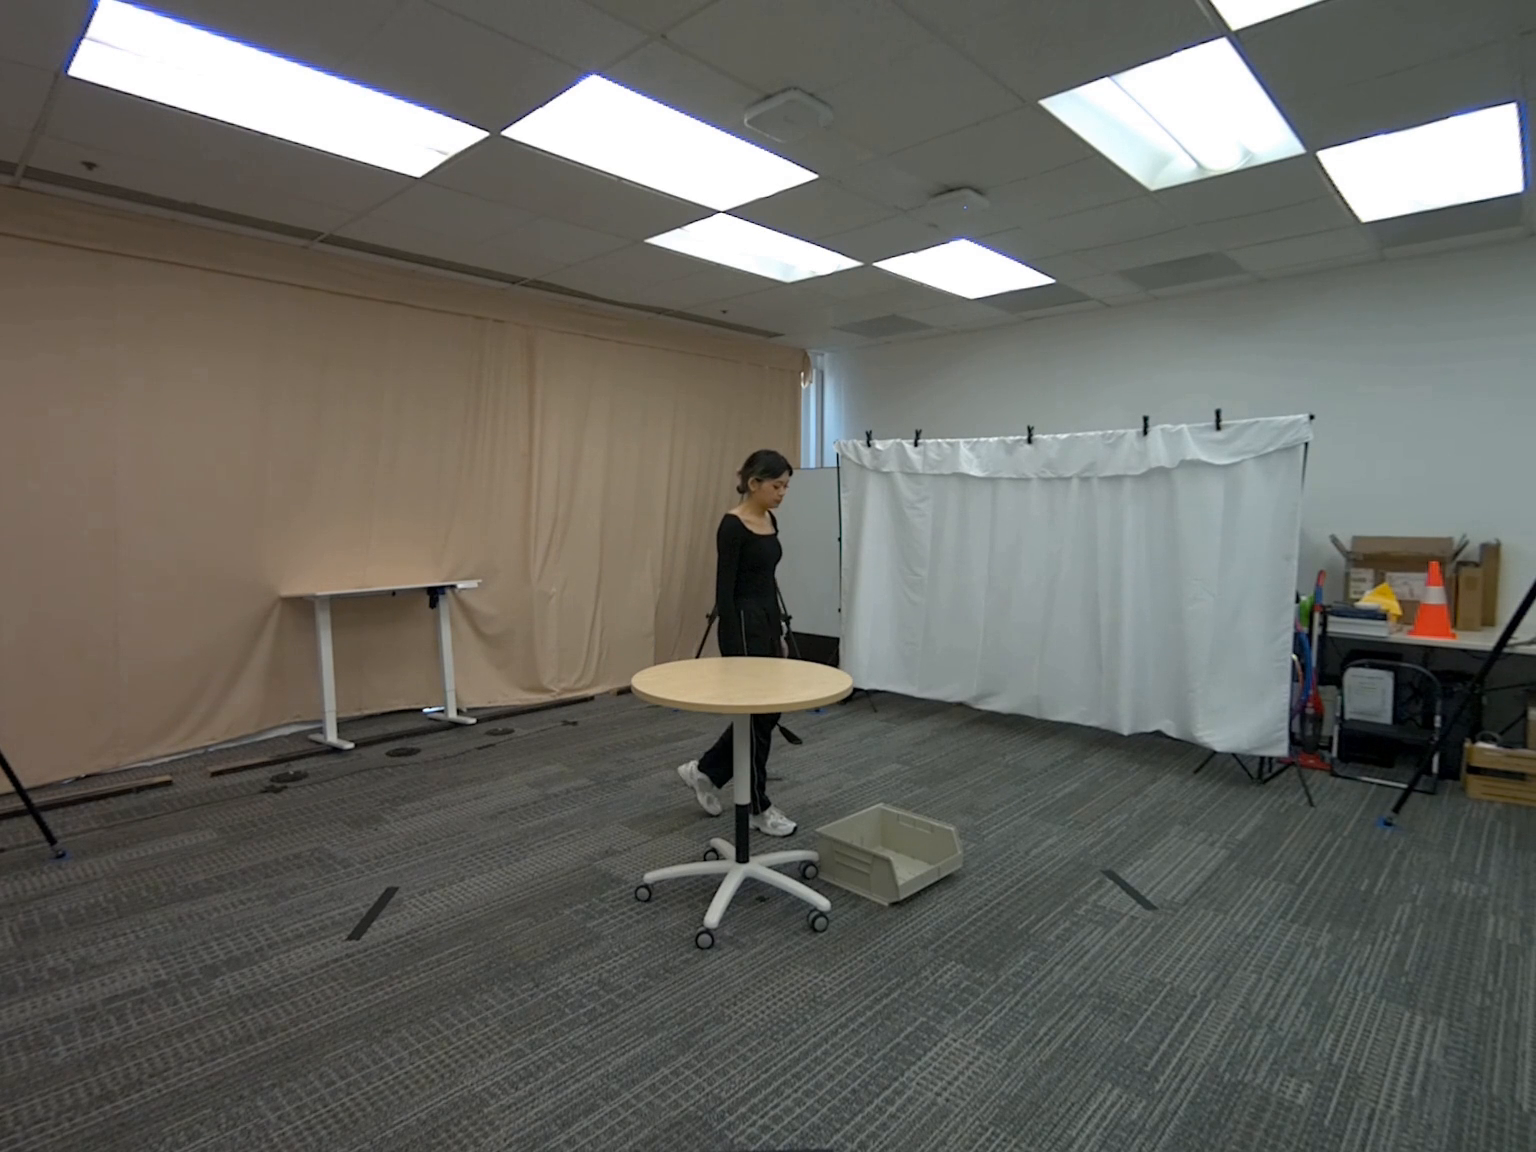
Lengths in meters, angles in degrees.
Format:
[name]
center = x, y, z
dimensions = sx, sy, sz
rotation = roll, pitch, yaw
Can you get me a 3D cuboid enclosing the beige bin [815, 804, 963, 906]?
[beige bin]
center = 0.460, 1.044, 3.155
dimensions = 0.390, 0.188, 0.409
rotation = 3, 6, 44
